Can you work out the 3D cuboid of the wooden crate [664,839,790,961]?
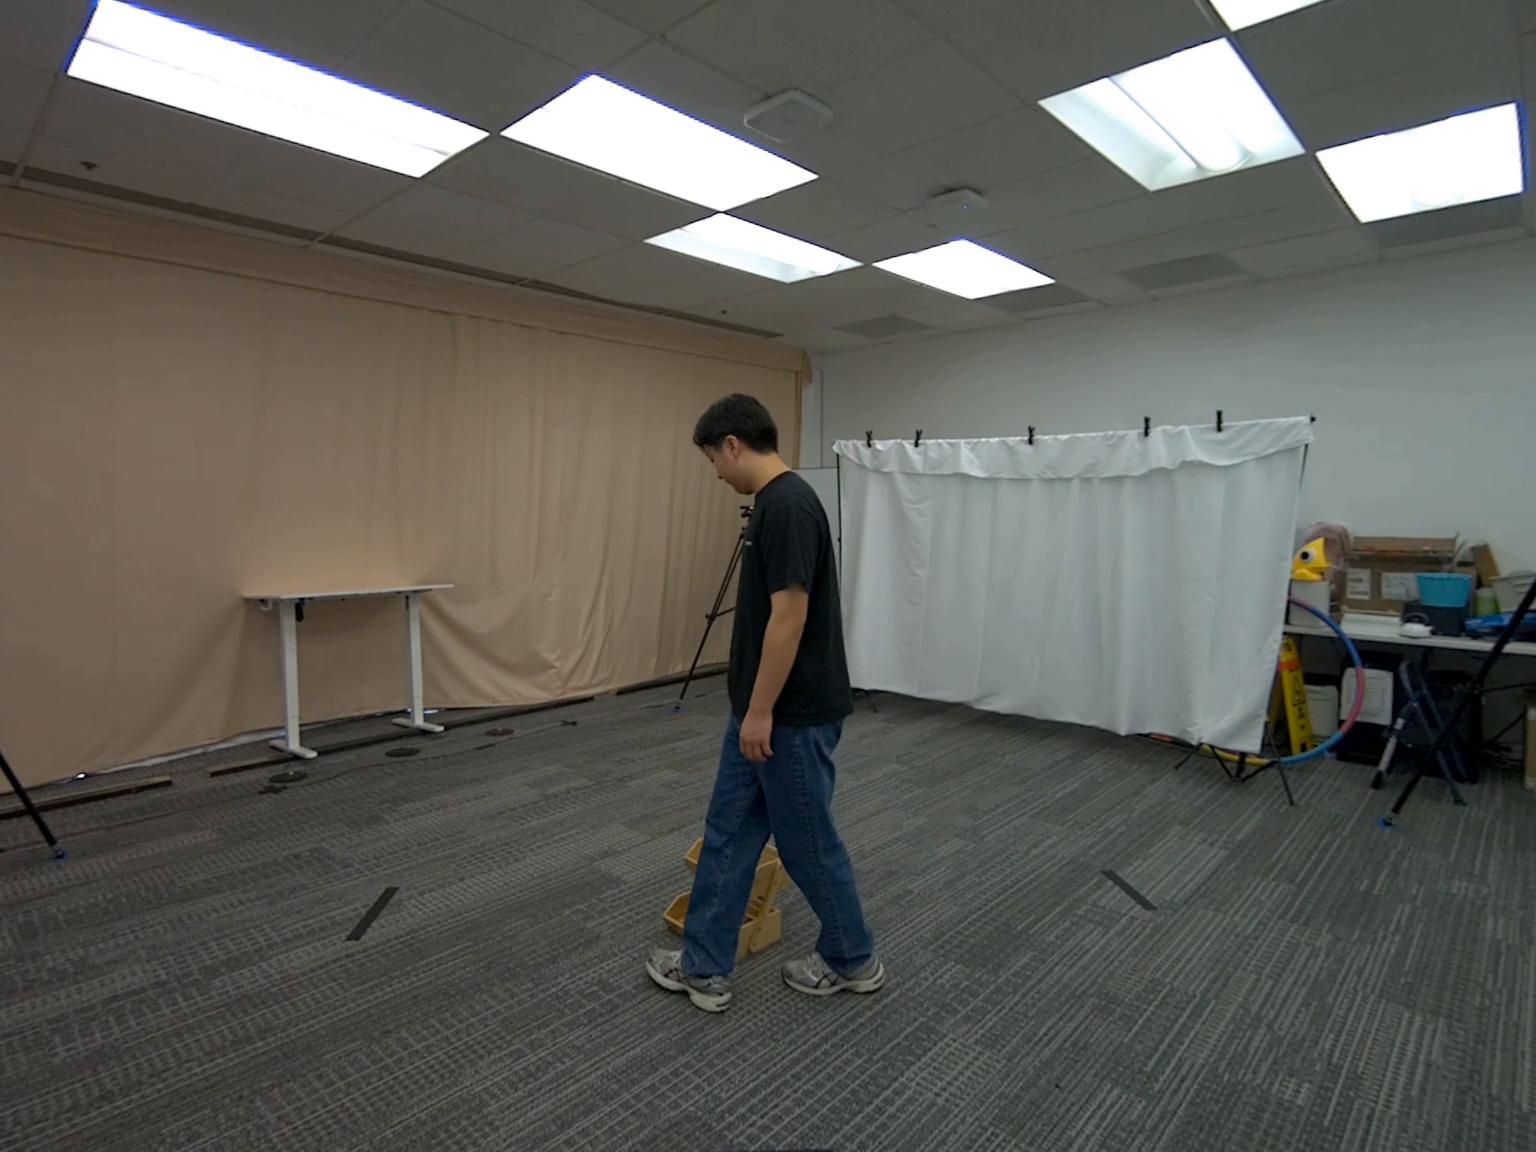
[{"bbox_3d":[-0.131,1.032,2.744,0.293,0.273,0.335,-3,5,-43],"label":"wooden crate"}]
